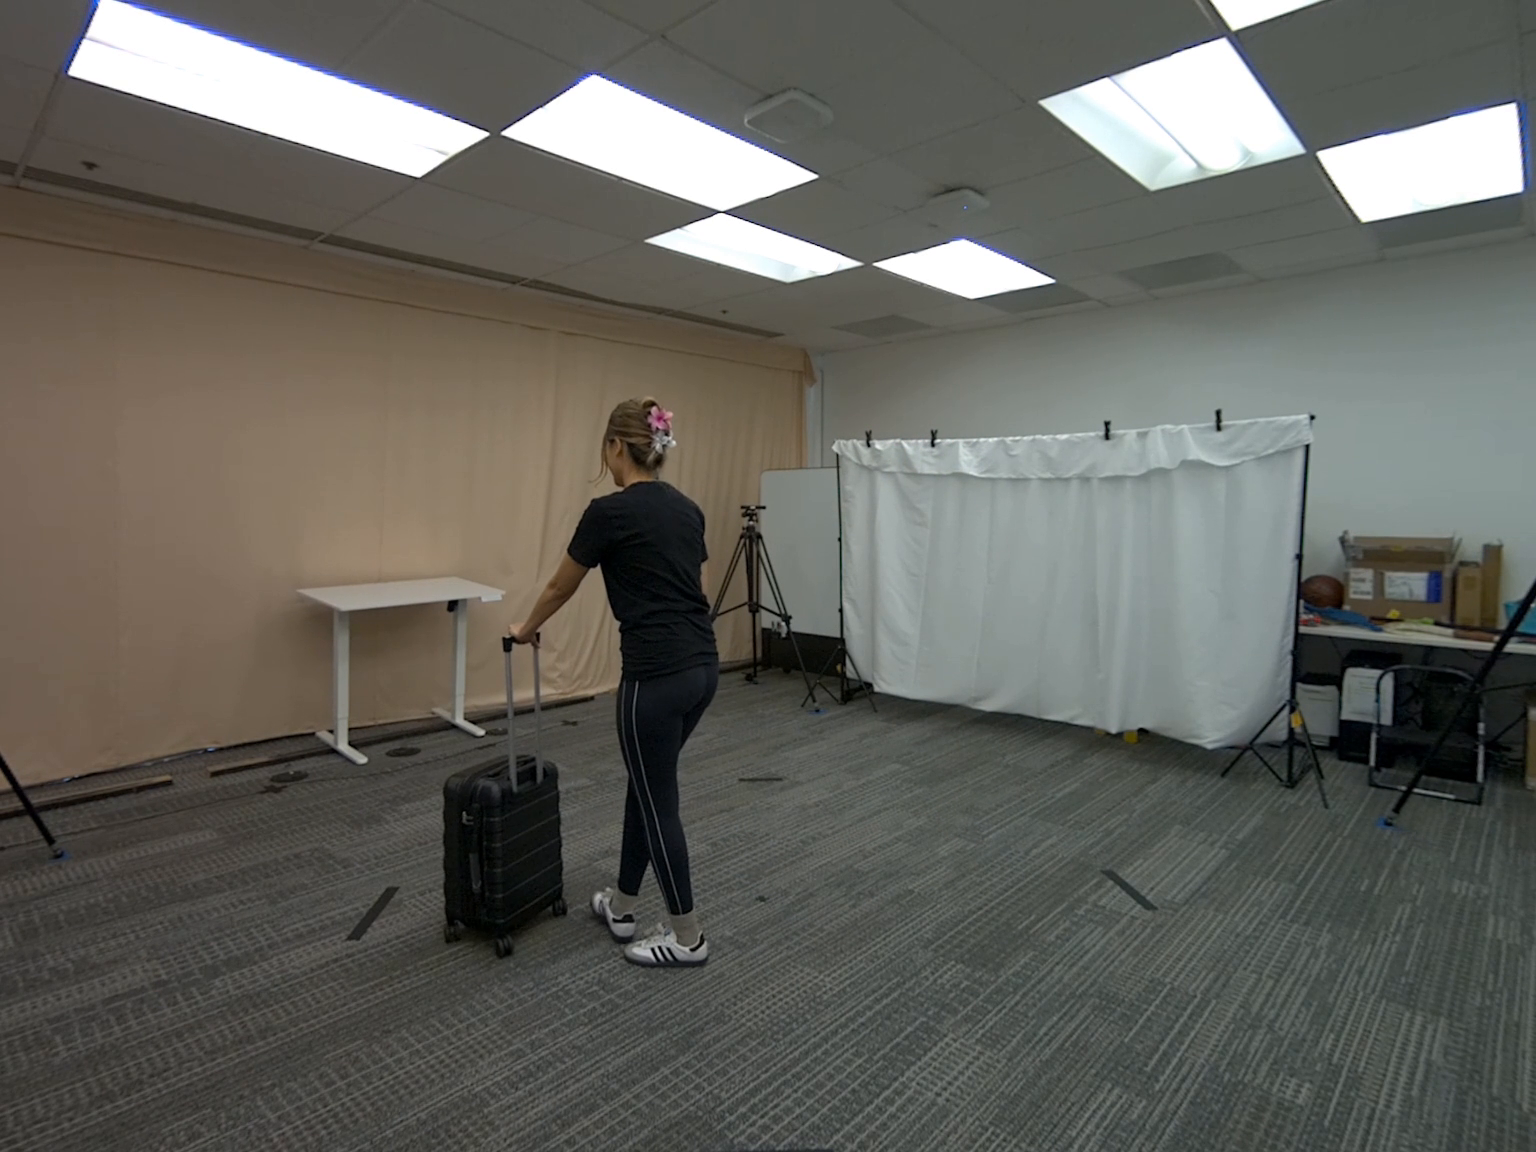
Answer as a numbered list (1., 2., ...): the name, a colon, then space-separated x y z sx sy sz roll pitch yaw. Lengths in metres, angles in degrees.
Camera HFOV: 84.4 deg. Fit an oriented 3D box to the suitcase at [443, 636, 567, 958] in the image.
1. suitcase: -0.892 0.688 2.799 0.263 0.978 0.376 -1 1 21
